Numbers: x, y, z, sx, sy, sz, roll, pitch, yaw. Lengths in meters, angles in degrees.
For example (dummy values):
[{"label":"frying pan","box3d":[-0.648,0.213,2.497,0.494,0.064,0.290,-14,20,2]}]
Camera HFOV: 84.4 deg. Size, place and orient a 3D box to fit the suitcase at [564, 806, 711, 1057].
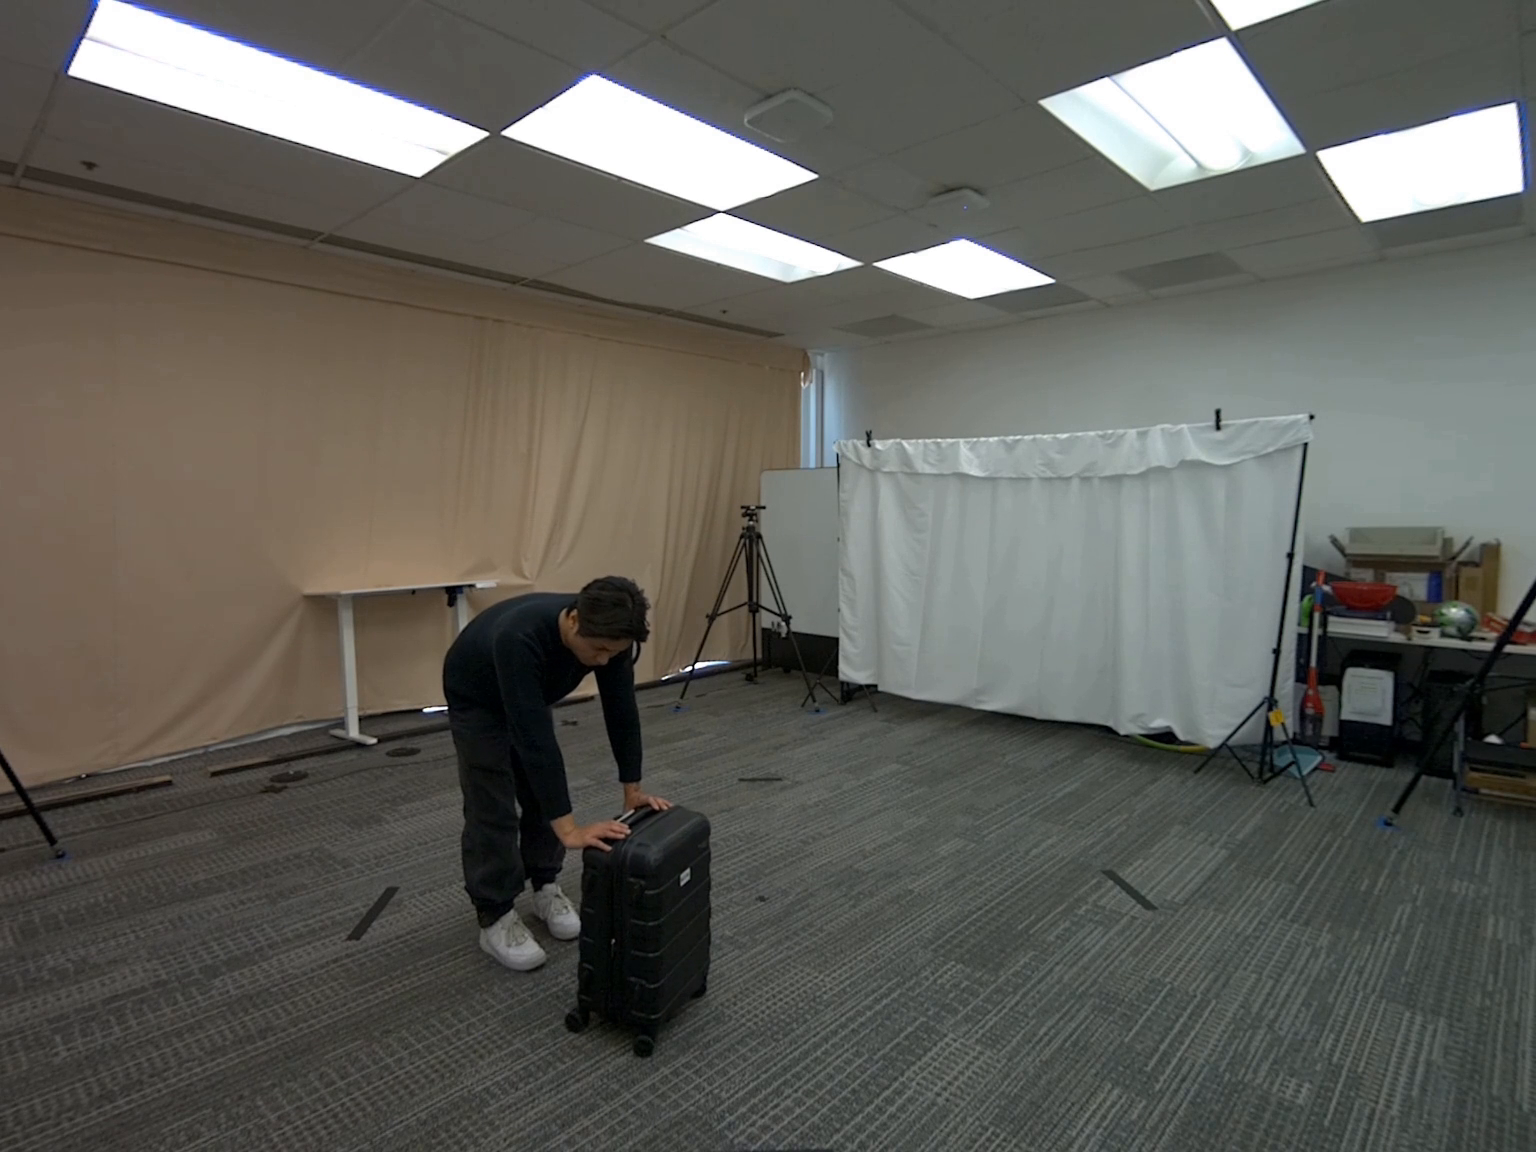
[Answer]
[{"label":"suitcase","box3d":[-0.330,0.929,2.301,0.255,0.548,0.366,3,4,26]}]
